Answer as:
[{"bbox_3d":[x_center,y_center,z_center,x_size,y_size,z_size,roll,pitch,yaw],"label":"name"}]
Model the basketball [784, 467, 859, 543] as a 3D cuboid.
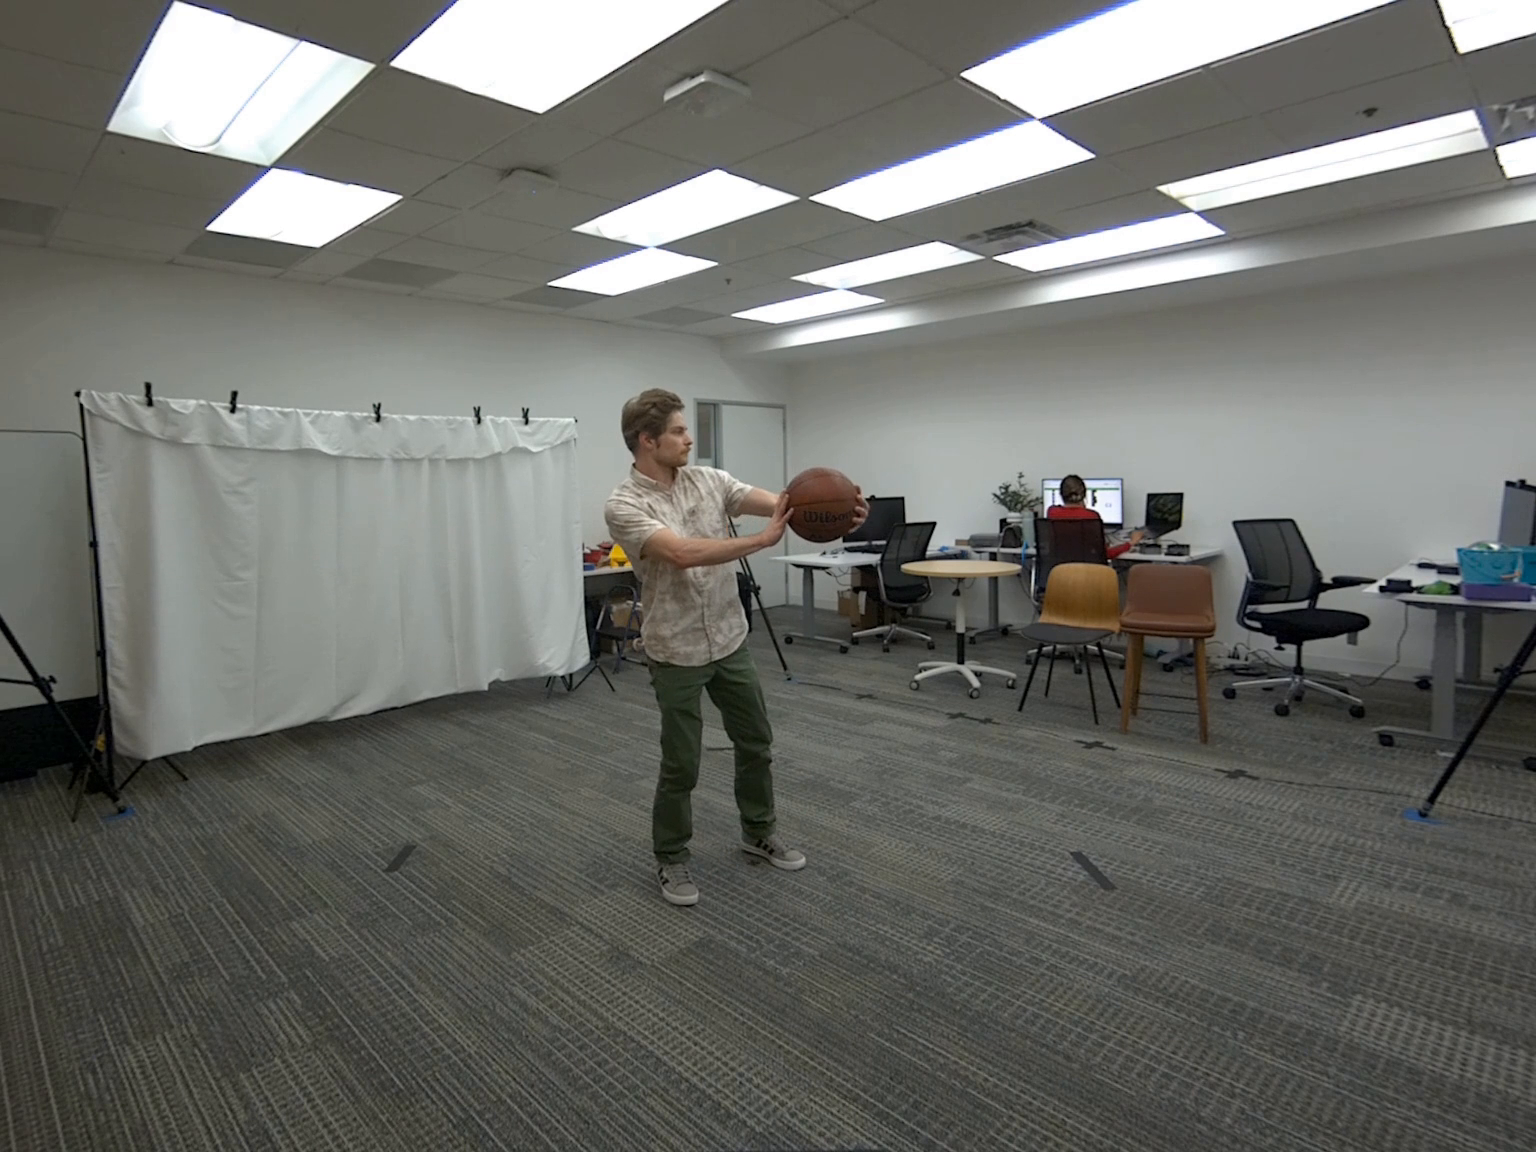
[{"bbox_3d":[0.166,-0.223,2.678,0.236,0.235,0.237,-1,5,-2],"label":"basketball"}]
